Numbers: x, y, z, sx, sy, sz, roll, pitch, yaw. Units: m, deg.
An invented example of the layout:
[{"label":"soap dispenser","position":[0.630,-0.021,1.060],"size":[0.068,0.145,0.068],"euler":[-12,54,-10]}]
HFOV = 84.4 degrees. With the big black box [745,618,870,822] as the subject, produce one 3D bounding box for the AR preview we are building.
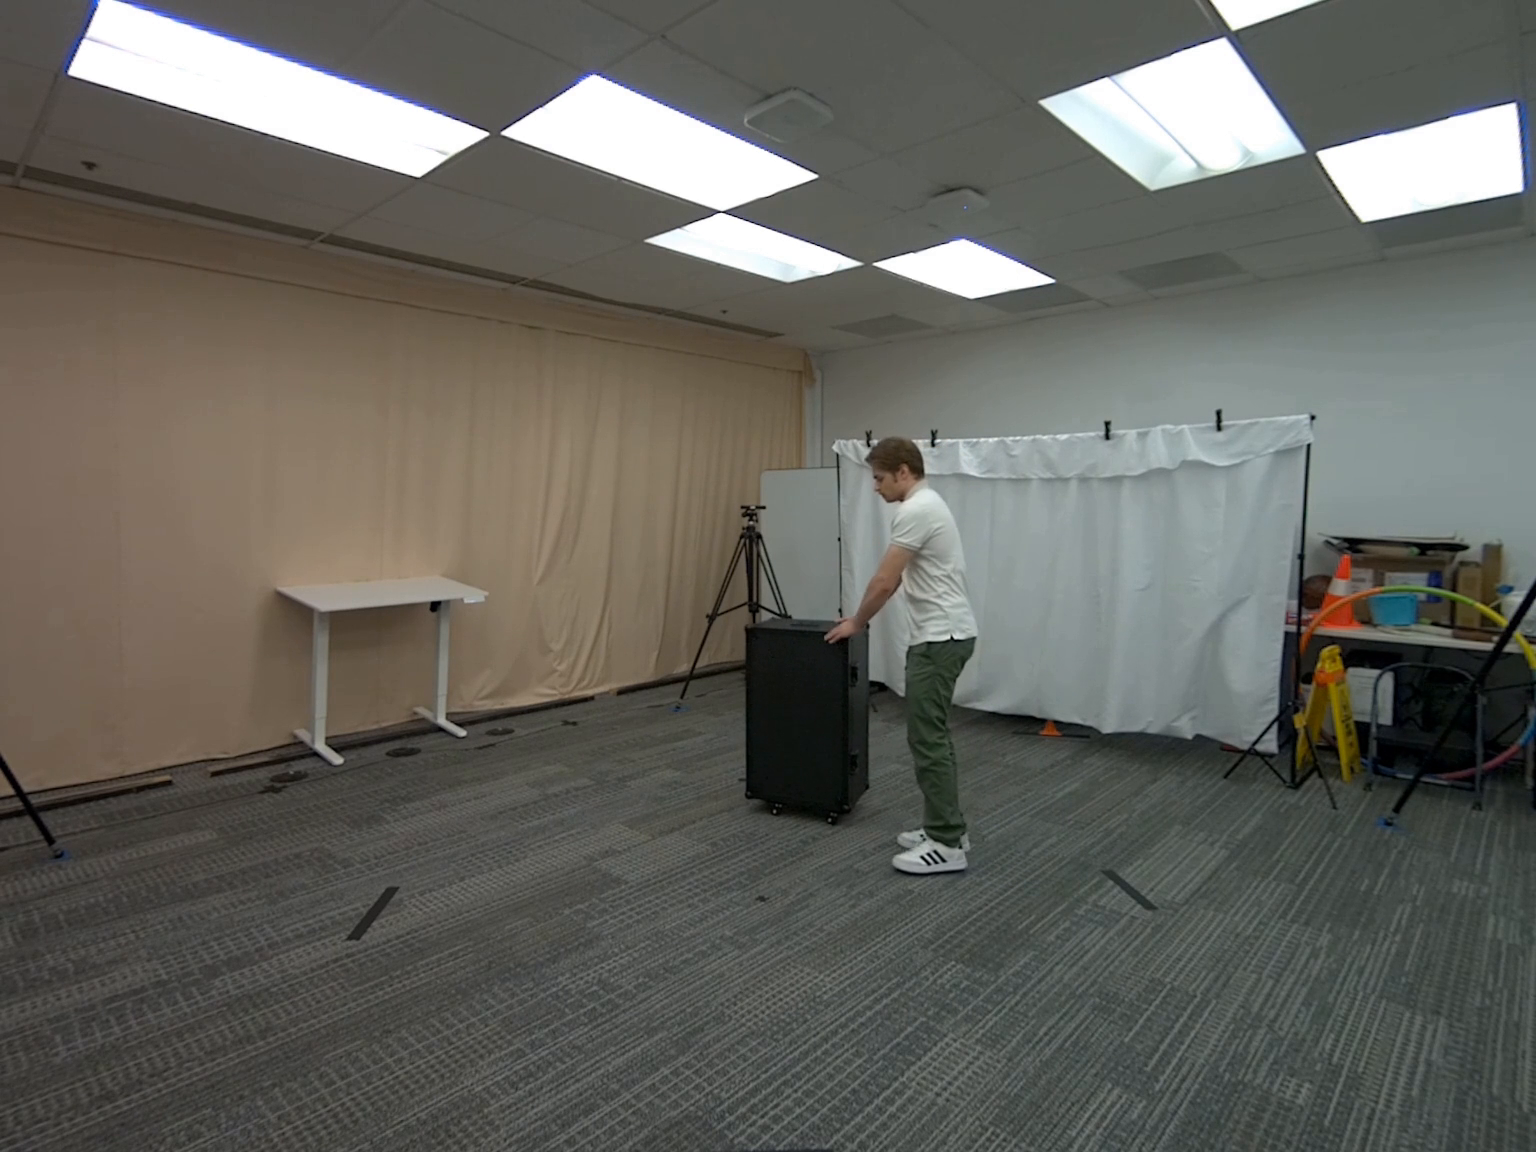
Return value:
[{"label":"big black box","position":[0.183,0.645,3.870],"size":[0.536,0.867,0.377],"euler":[2,3,23]}]
